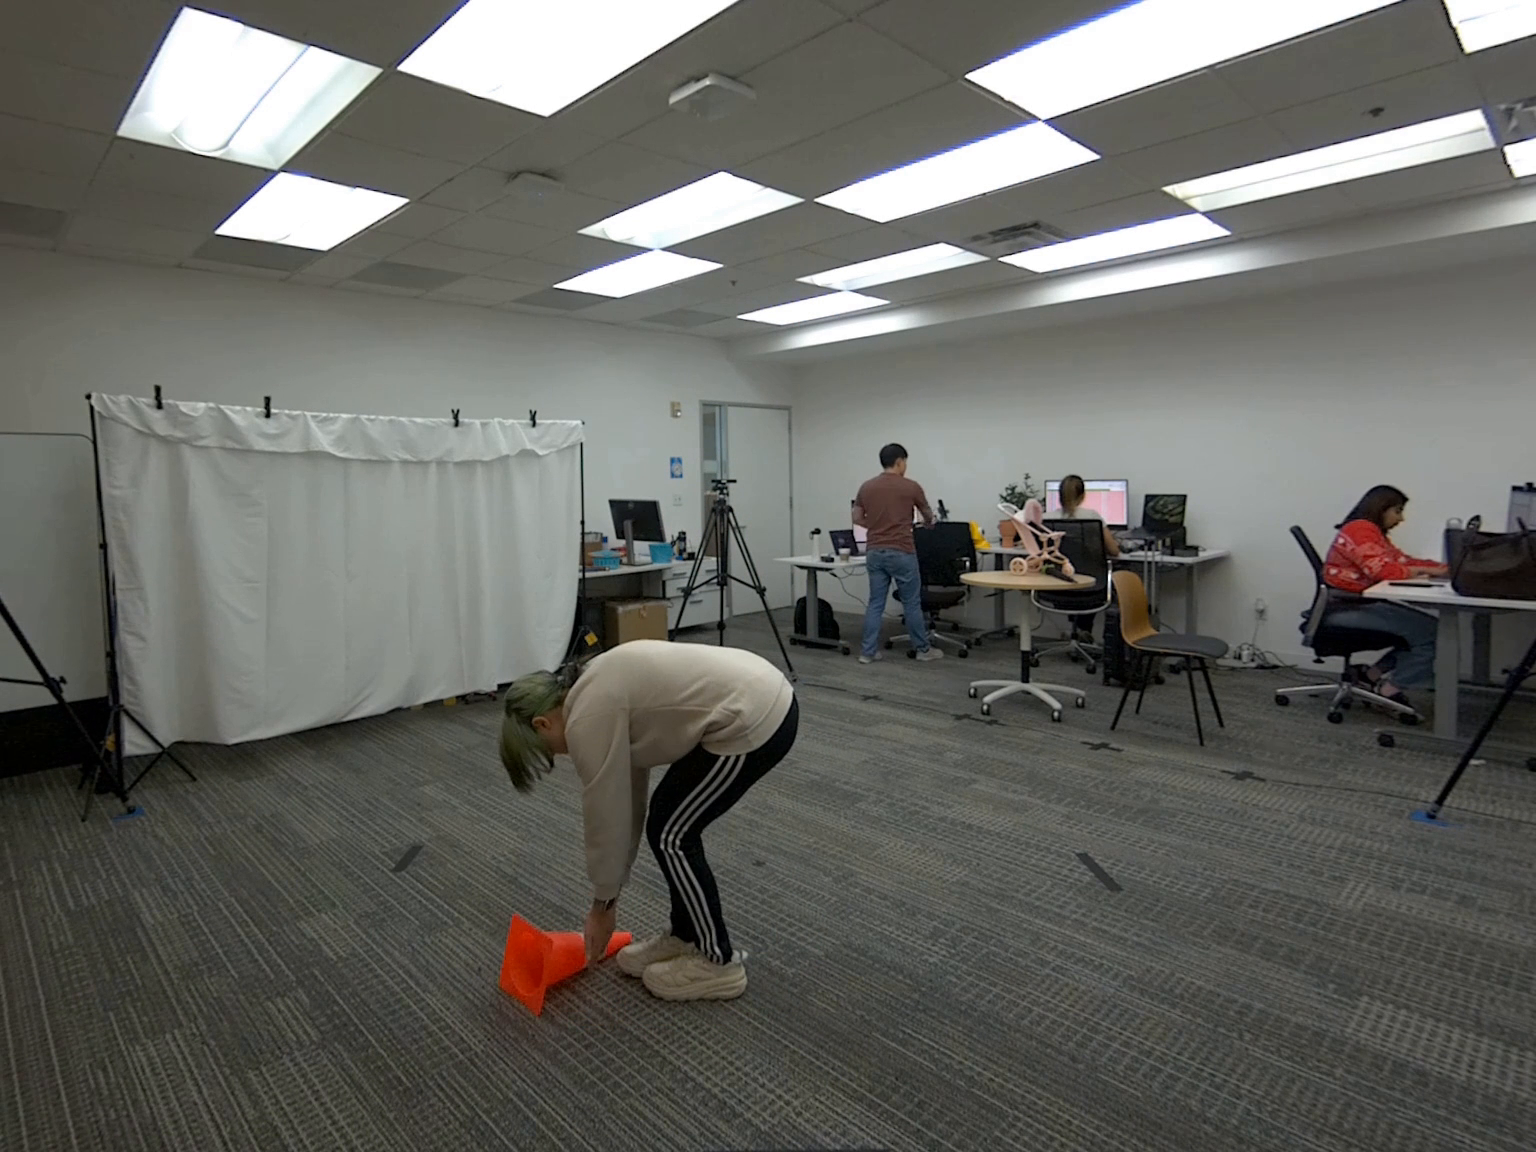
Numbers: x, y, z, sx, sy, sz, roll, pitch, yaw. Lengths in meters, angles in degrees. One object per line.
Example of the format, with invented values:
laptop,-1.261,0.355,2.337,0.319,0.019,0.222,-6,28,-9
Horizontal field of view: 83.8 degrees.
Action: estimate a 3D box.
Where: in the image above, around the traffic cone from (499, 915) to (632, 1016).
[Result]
traffic cone,-0.531,1.074,2.455,0.211,0.204,0.371,7,-3,42
